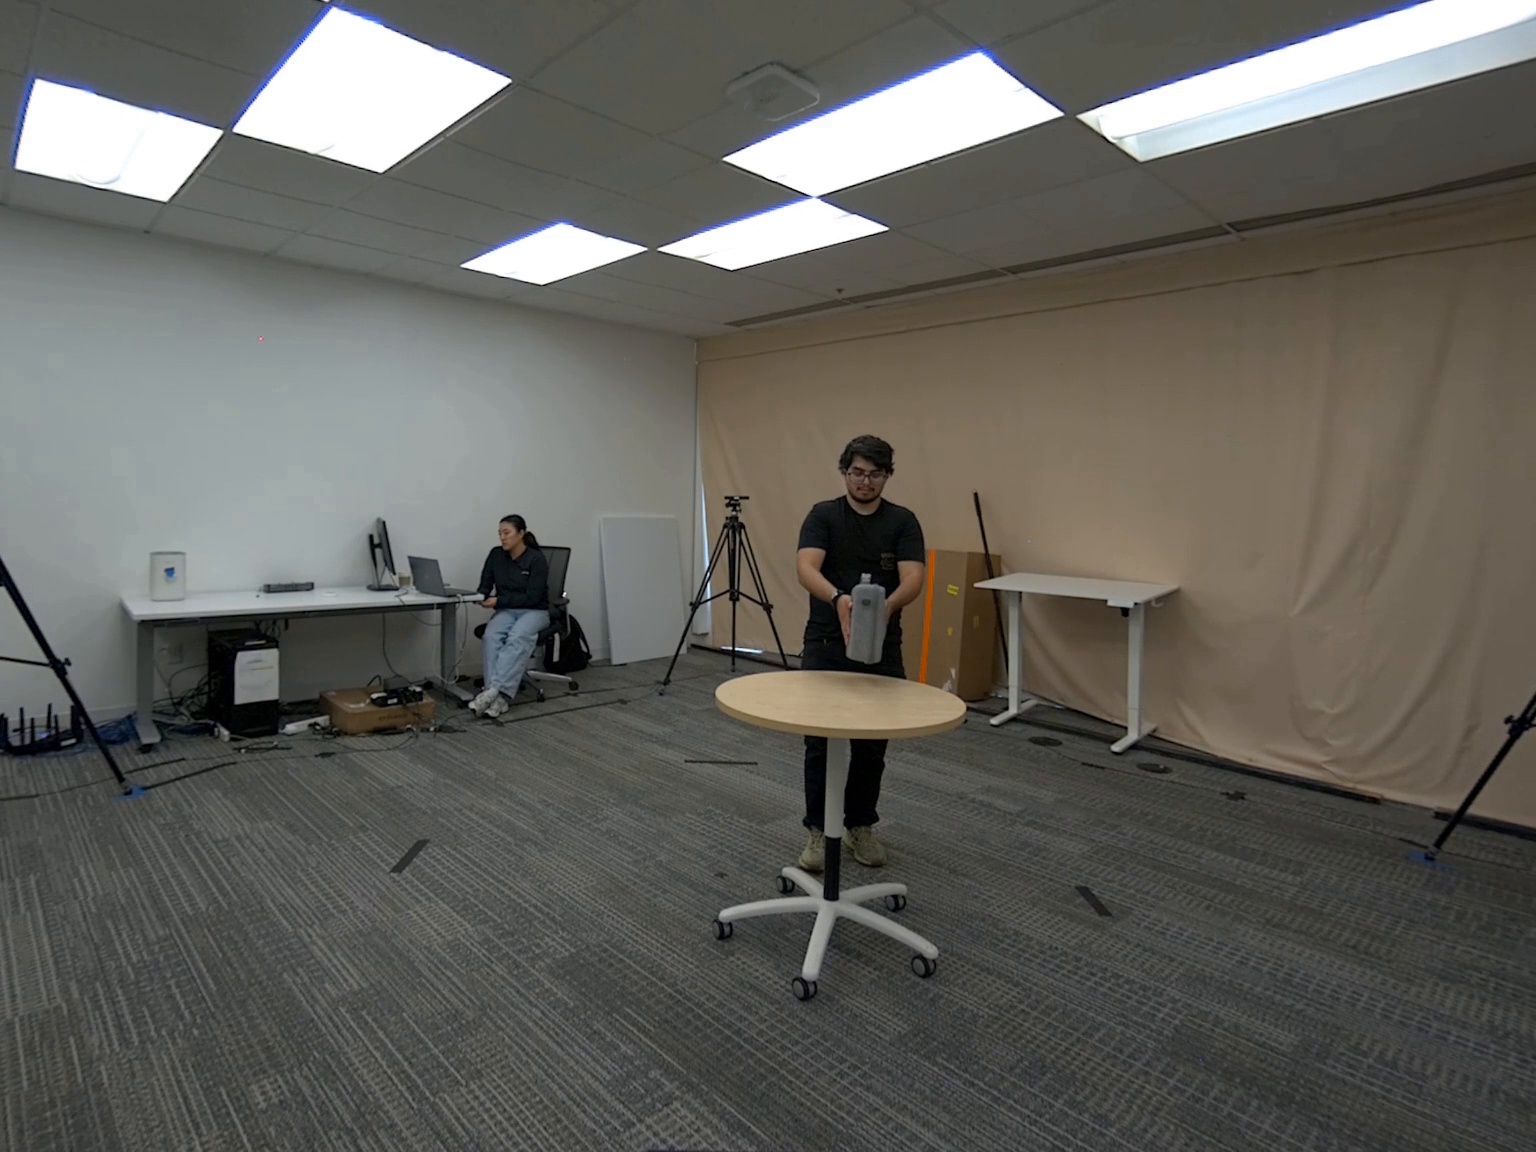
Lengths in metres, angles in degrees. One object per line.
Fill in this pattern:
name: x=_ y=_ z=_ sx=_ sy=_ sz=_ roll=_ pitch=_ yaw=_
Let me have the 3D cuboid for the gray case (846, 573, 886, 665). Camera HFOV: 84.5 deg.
gray case: x=0.320 y=0.156 z=2.815 sx=0.105 sy=0.262 sz=0.255 roll=3 pitch=-5 yaw=5
